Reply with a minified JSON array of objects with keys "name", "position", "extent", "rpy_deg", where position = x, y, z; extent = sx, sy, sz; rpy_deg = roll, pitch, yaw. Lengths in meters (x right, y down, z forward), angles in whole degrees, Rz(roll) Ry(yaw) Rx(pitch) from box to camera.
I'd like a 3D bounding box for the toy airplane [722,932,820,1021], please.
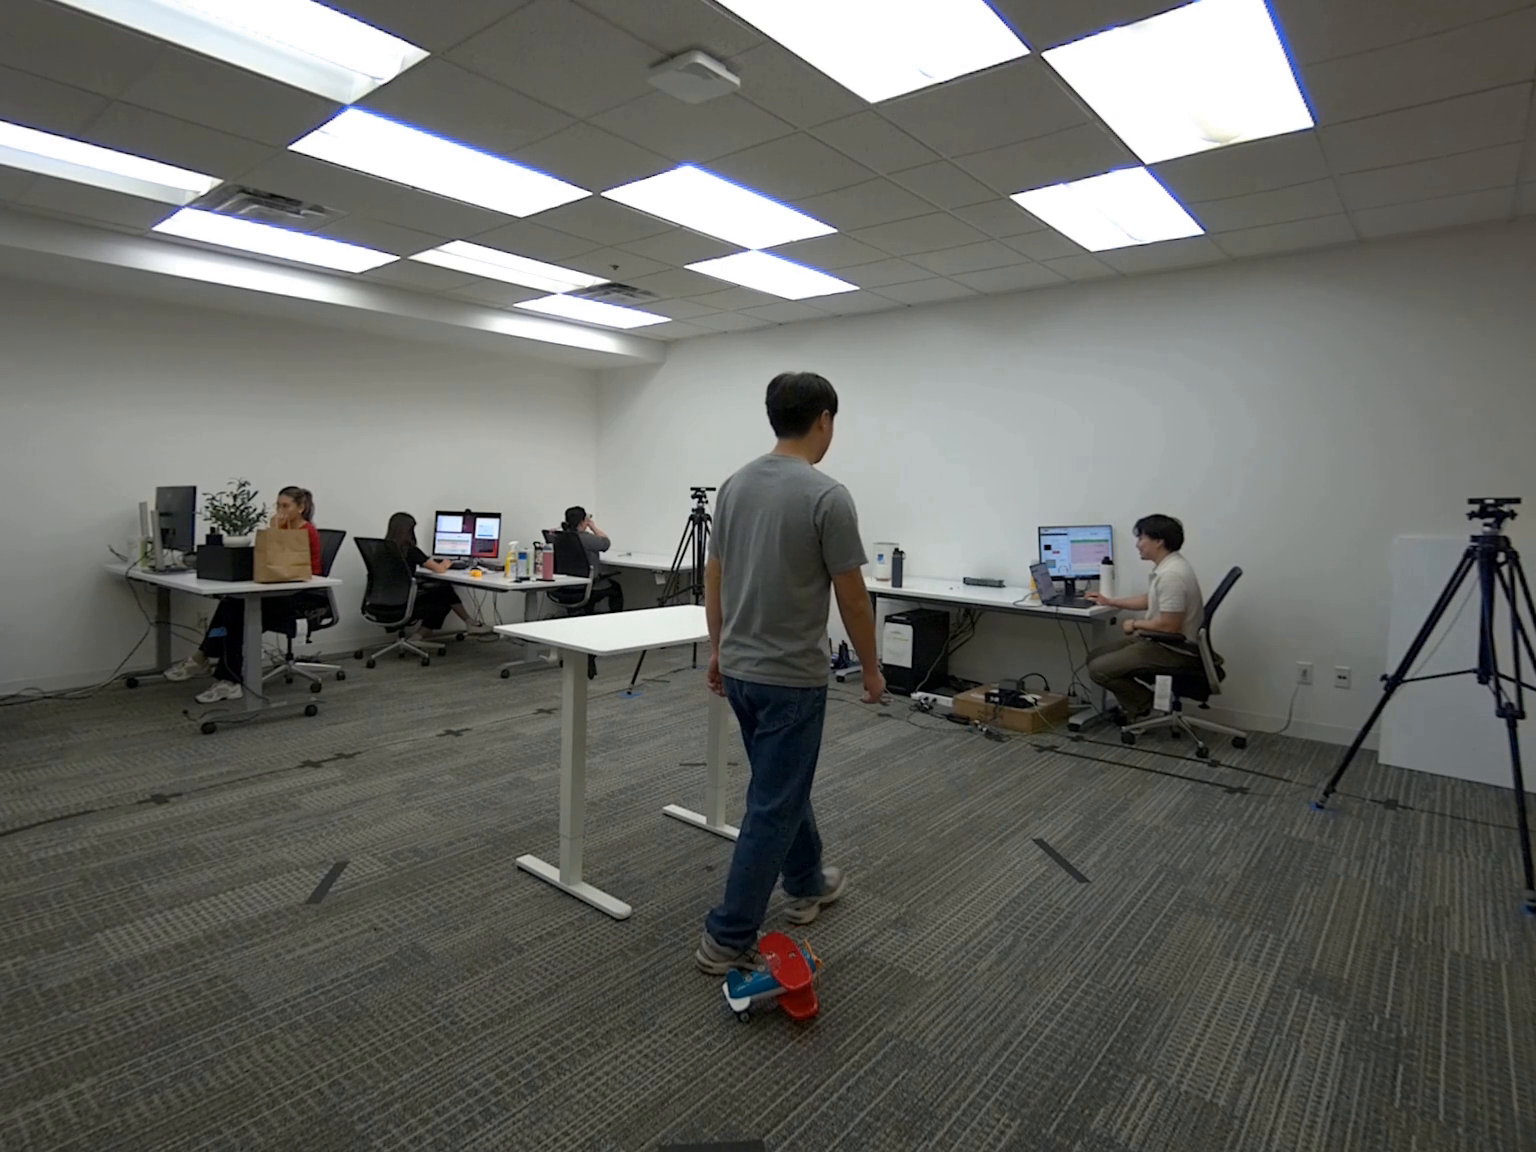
[{"name":"toy airplane","position":[0.018,1.086,2.243],"extent":[0.260,0.156,0.251],"rpy_deg":[7,7,44]}]
